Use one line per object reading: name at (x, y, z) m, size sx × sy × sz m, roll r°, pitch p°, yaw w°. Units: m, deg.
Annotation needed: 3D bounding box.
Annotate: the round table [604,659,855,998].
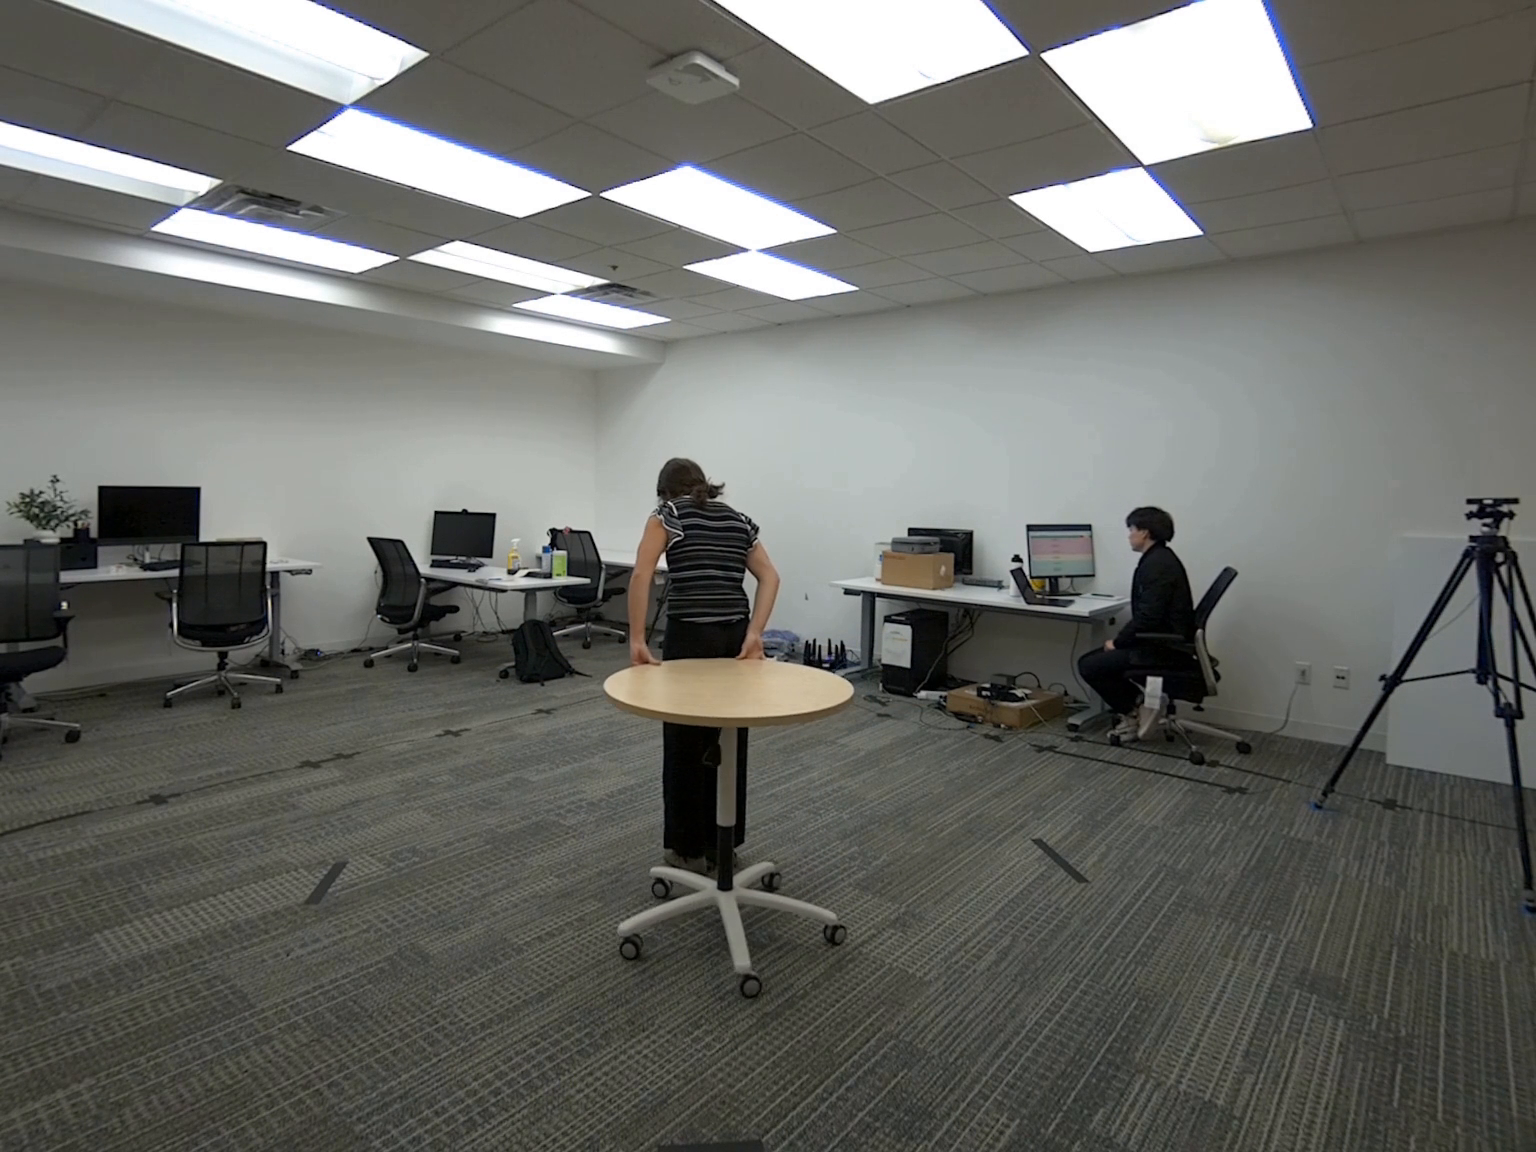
round table at (-0.140, 0.714, 2.662) m, size 0.784 × 0.784 × 0.789 m, roll 1°, pitch 5°, yaw -2°
